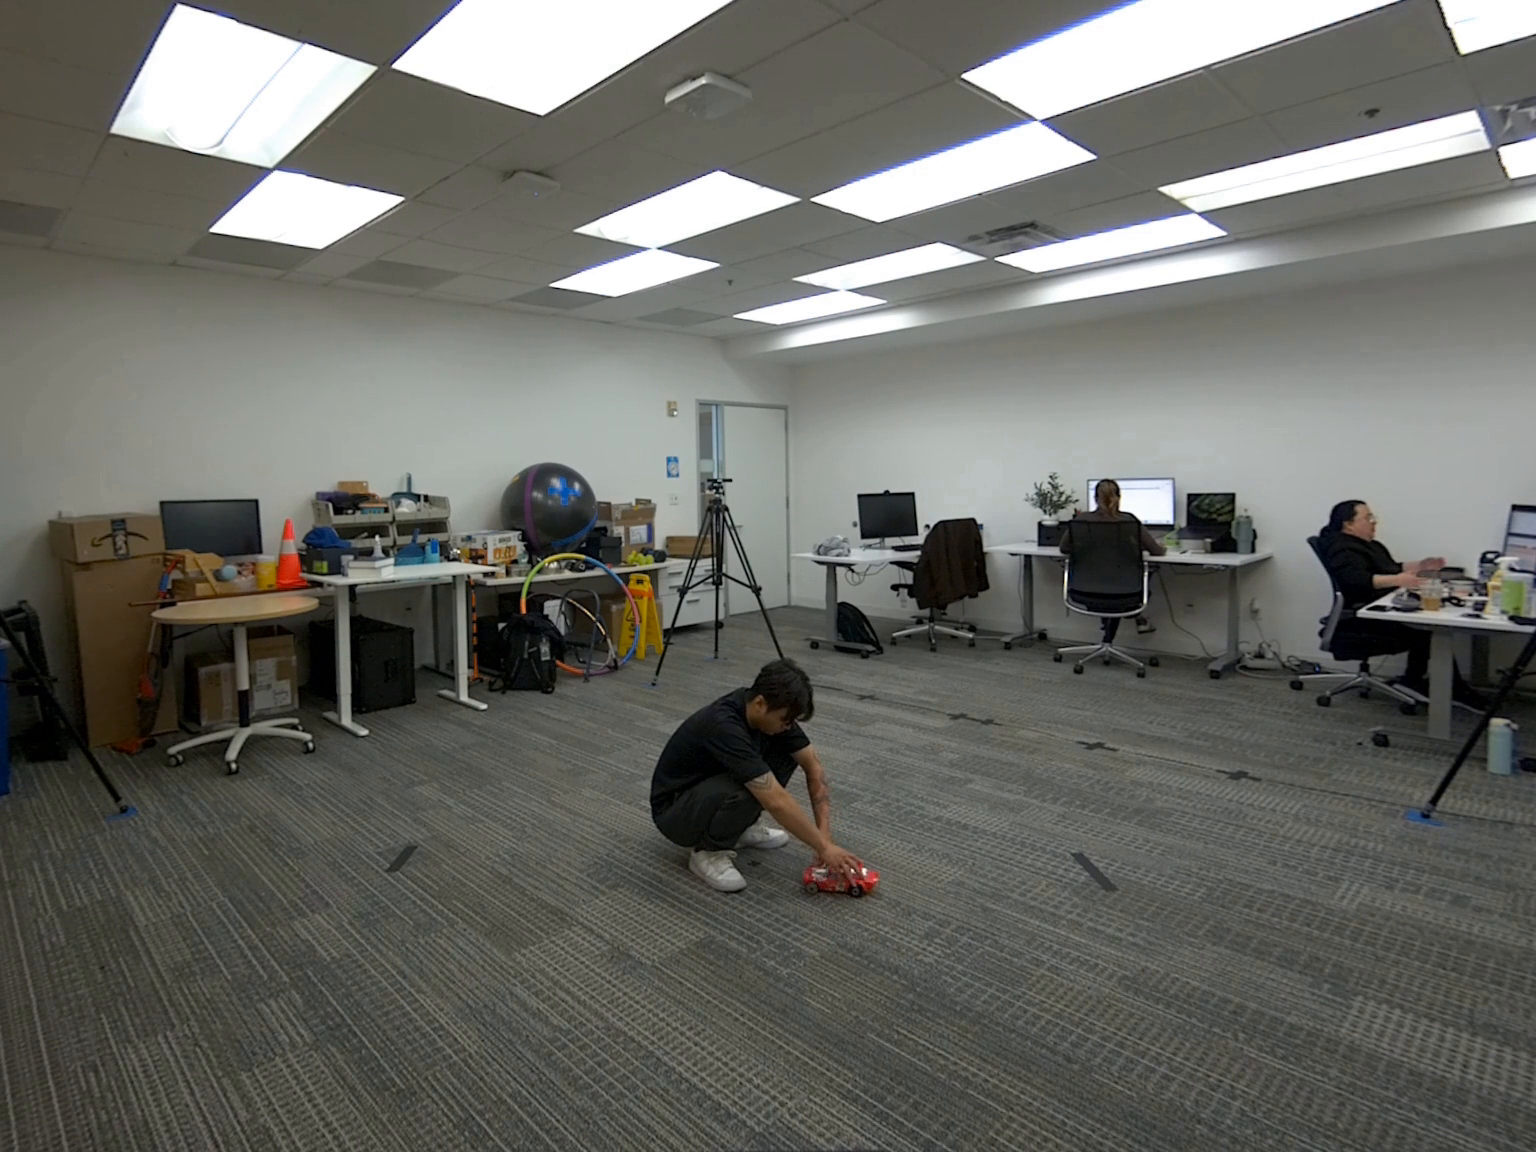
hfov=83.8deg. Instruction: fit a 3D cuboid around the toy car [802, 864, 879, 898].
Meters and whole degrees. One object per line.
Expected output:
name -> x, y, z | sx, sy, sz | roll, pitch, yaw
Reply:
toy car -> 0.249, 1.026, 2.897 | 0.257, 0.083, 0.129 | -10, 3, 14
